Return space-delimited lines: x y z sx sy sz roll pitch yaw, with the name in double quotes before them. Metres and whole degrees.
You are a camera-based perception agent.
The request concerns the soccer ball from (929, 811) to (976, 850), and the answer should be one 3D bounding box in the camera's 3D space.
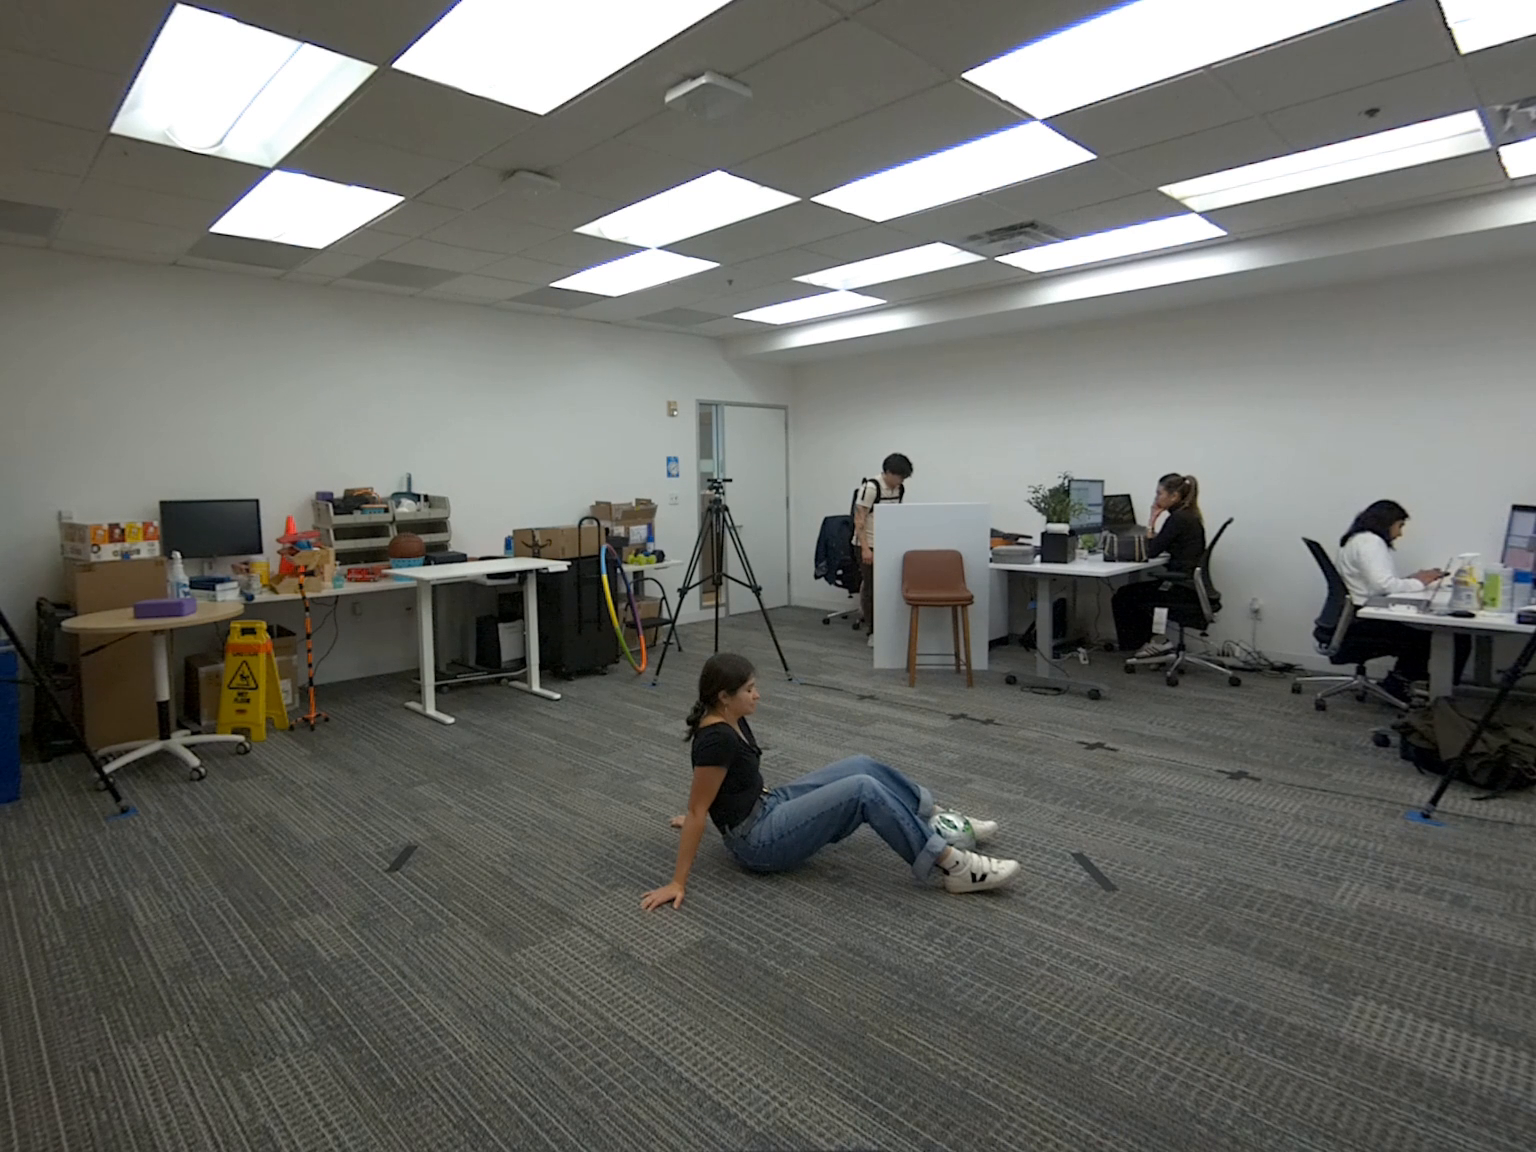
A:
"soccer ball" 0.645 0.937 3.073 0.187 0.187 0.188 0 1 -2
